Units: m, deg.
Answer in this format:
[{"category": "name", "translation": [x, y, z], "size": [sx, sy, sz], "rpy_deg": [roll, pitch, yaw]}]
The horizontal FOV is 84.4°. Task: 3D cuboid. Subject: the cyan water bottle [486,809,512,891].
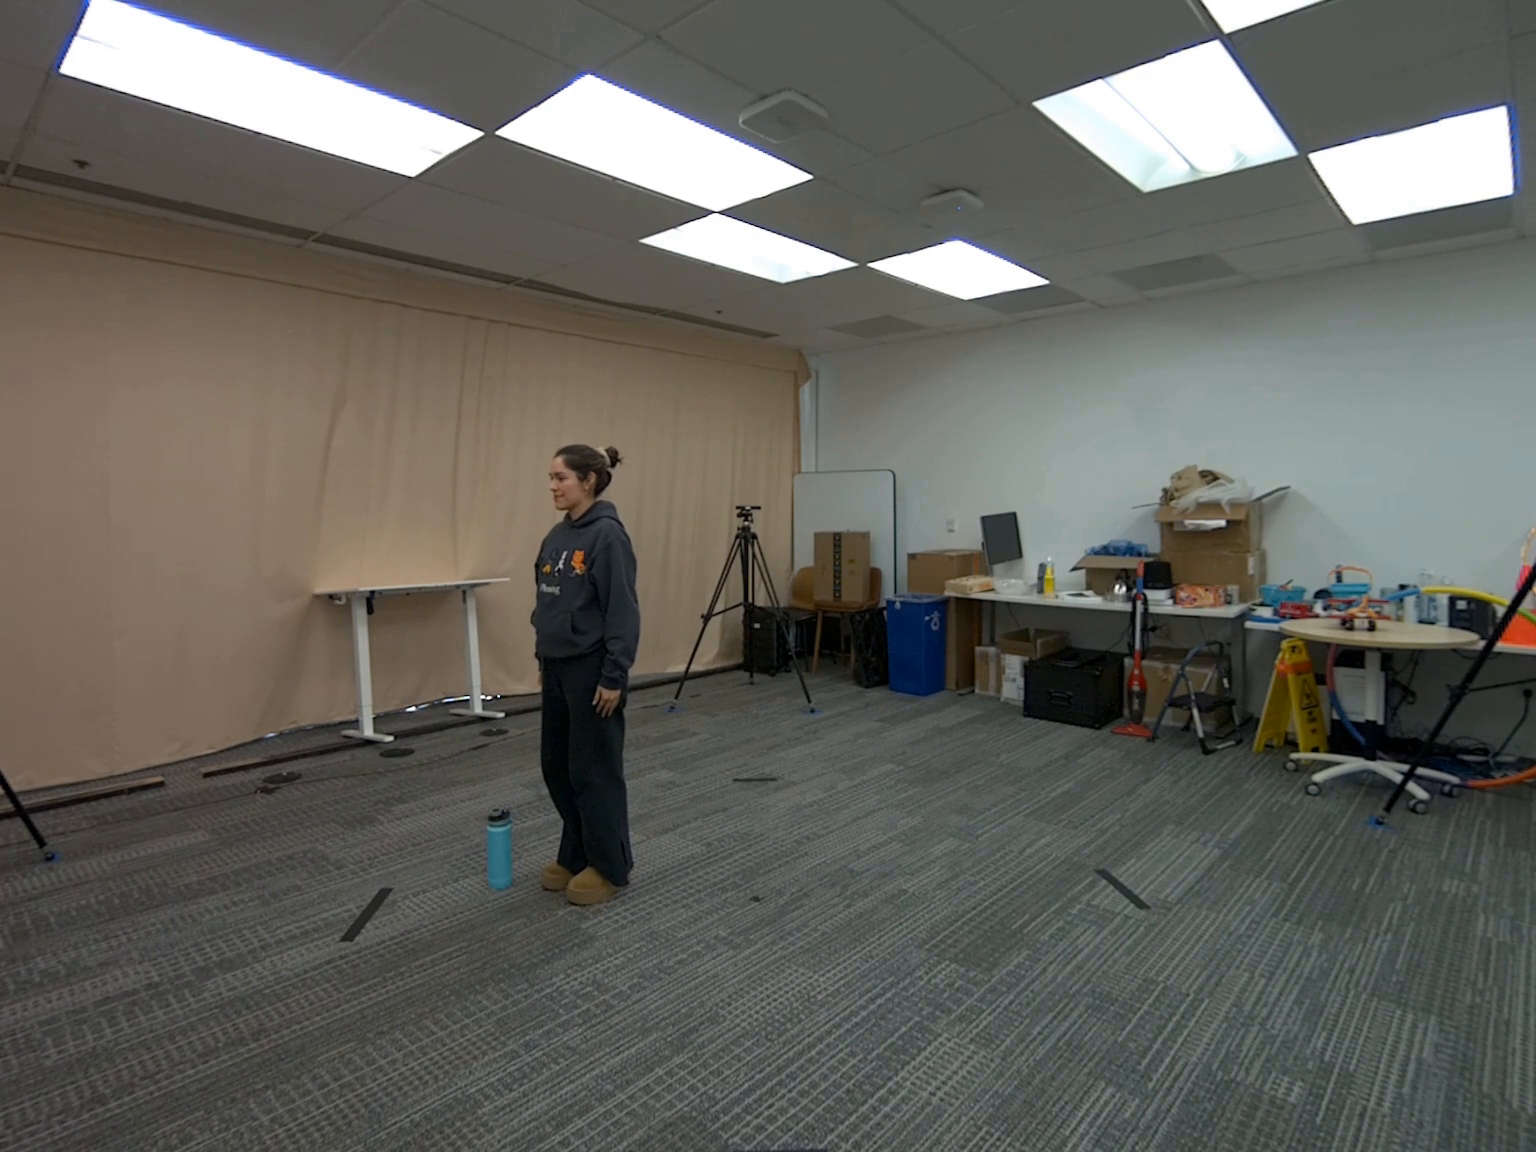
[{"category": "cyan water bottle", "translation": [-0.979, 1.013, 3.124], "size": [0.092, 0.283, 0.092], "rpy_deg": [0, 1, -2]}]
